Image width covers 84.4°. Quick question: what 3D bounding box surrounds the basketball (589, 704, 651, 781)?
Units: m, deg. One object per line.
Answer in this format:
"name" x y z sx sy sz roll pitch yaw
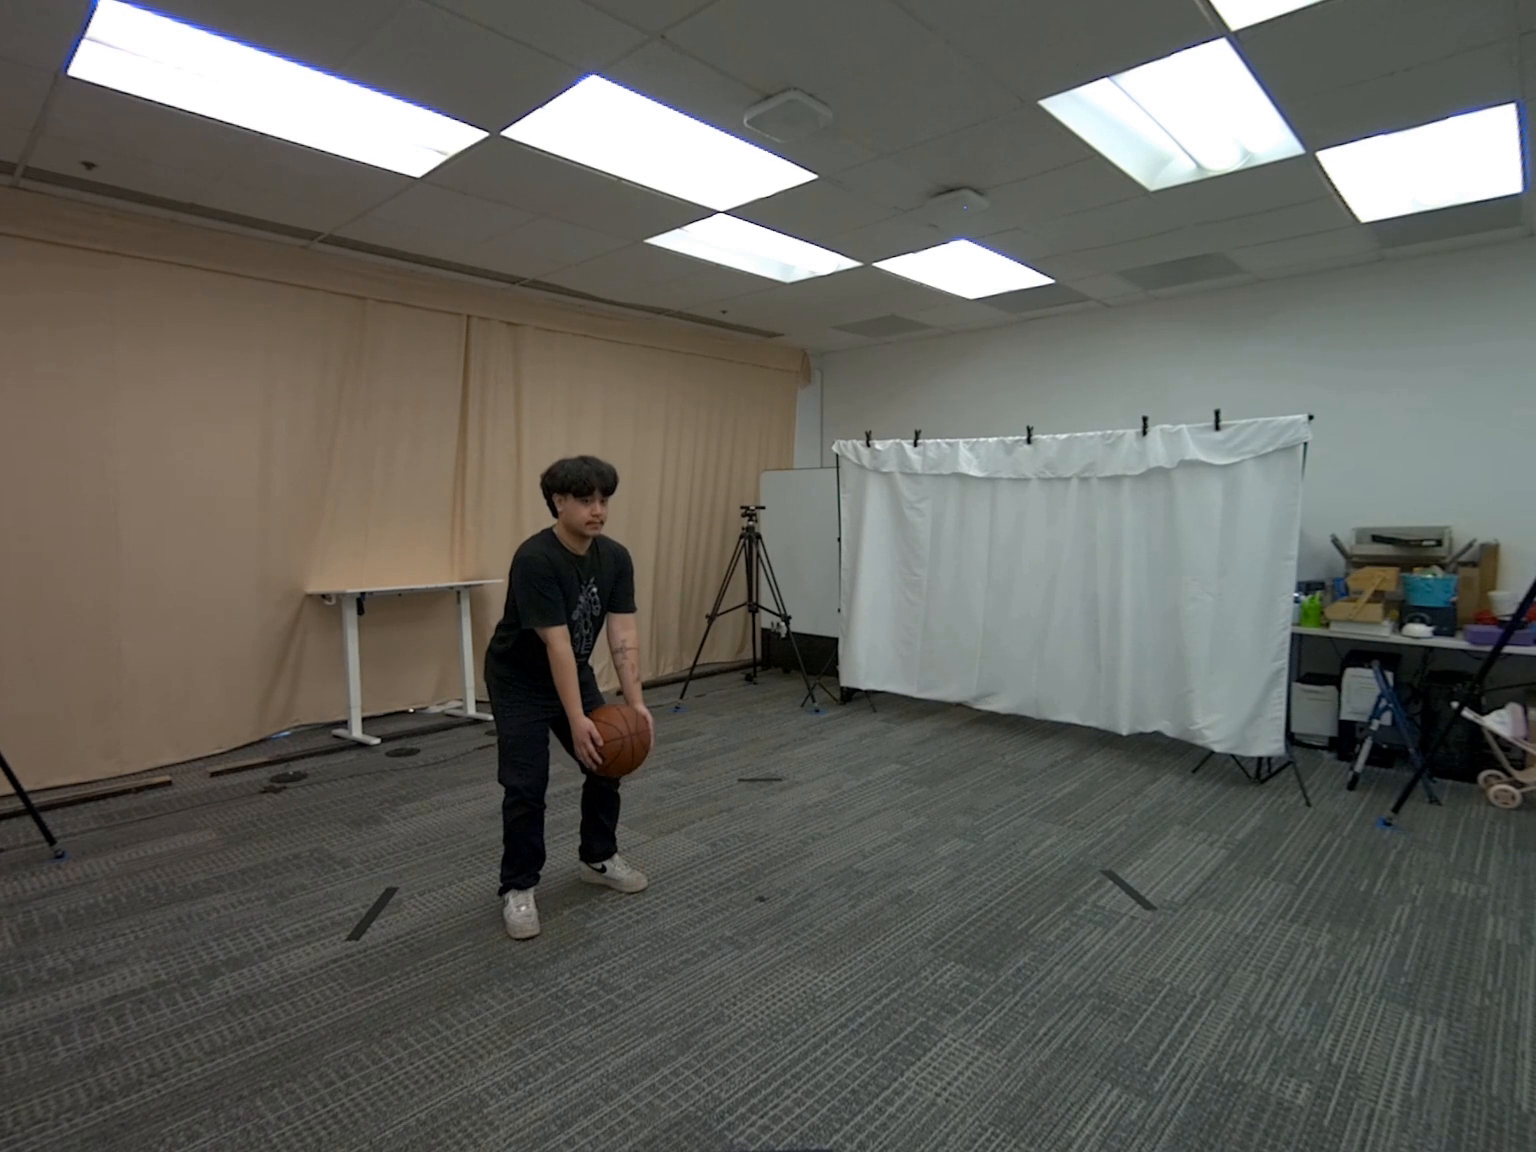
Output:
"basketball" -0.503 0.539 2.749 0.236 0.235 0.237 0 4 -2
